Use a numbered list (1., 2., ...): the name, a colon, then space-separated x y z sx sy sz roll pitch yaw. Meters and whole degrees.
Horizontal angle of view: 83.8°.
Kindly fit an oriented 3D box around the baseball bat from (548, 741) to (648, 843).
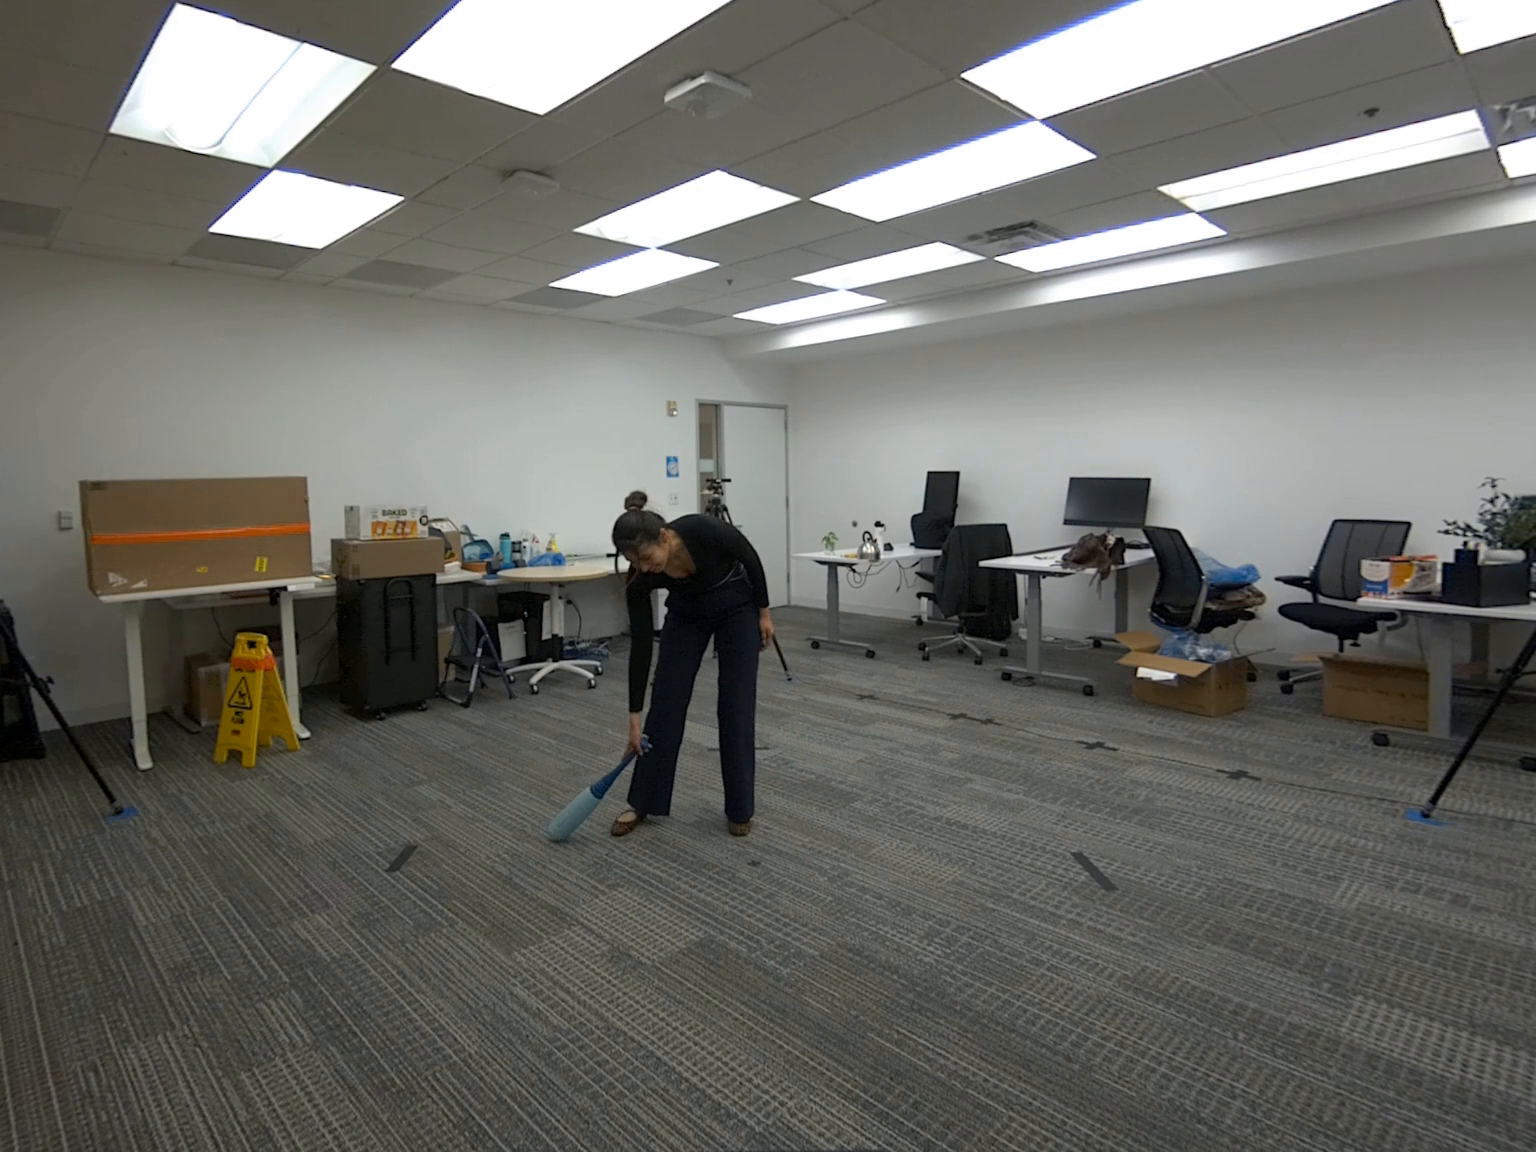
1. baseball bat: -0.649 0.825 3.286 0.088 0.543 0.090 41 12 -13
